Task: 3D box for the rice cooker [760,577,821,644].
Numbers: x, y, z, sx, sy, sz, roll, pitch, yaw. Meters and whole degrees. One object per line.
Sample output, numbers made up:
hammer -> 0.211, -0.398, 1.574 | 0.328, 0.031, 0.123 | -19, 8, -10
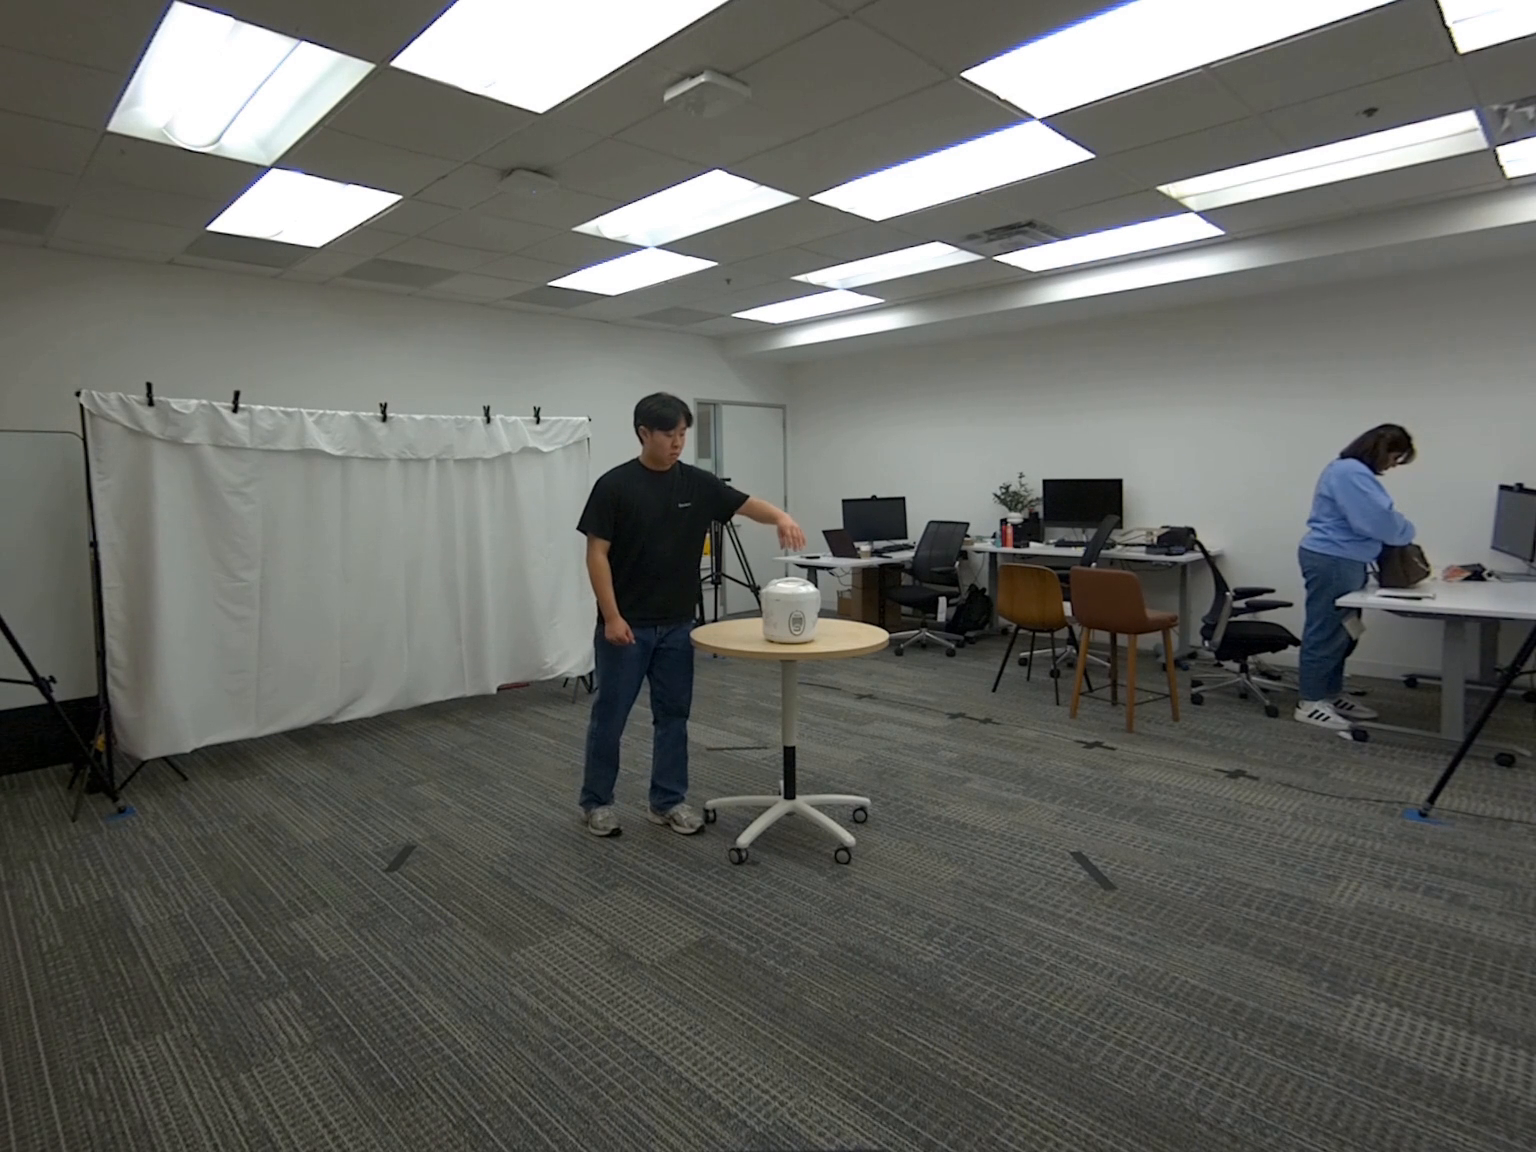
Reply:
rice cooker -> 0.087, 0.119, 3.154 | 0.218, 0.232, 0.220 | -2, 4, -11
